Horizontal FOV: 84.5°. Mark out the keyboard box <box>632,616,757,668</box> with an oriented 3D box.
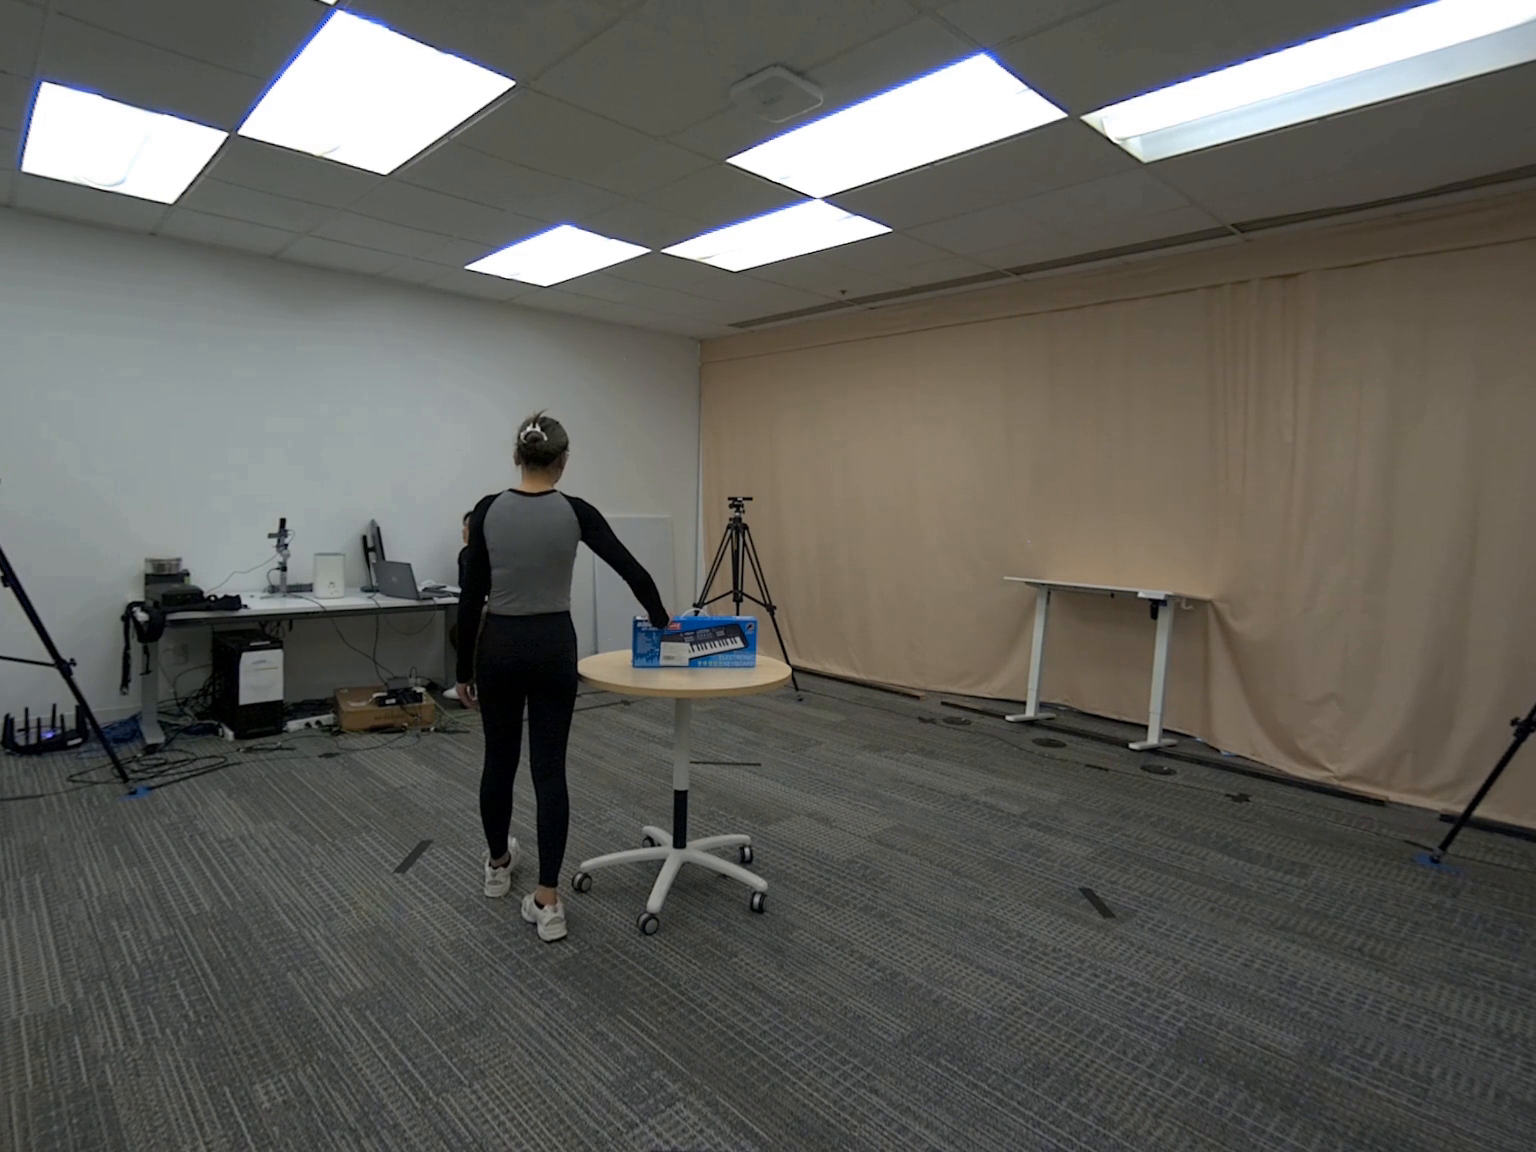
[{"bbox_3d":[-0.265,0.236,2.983,0.434,0.175,0.060,0,7,-8],"label":"keyboard box"}]
